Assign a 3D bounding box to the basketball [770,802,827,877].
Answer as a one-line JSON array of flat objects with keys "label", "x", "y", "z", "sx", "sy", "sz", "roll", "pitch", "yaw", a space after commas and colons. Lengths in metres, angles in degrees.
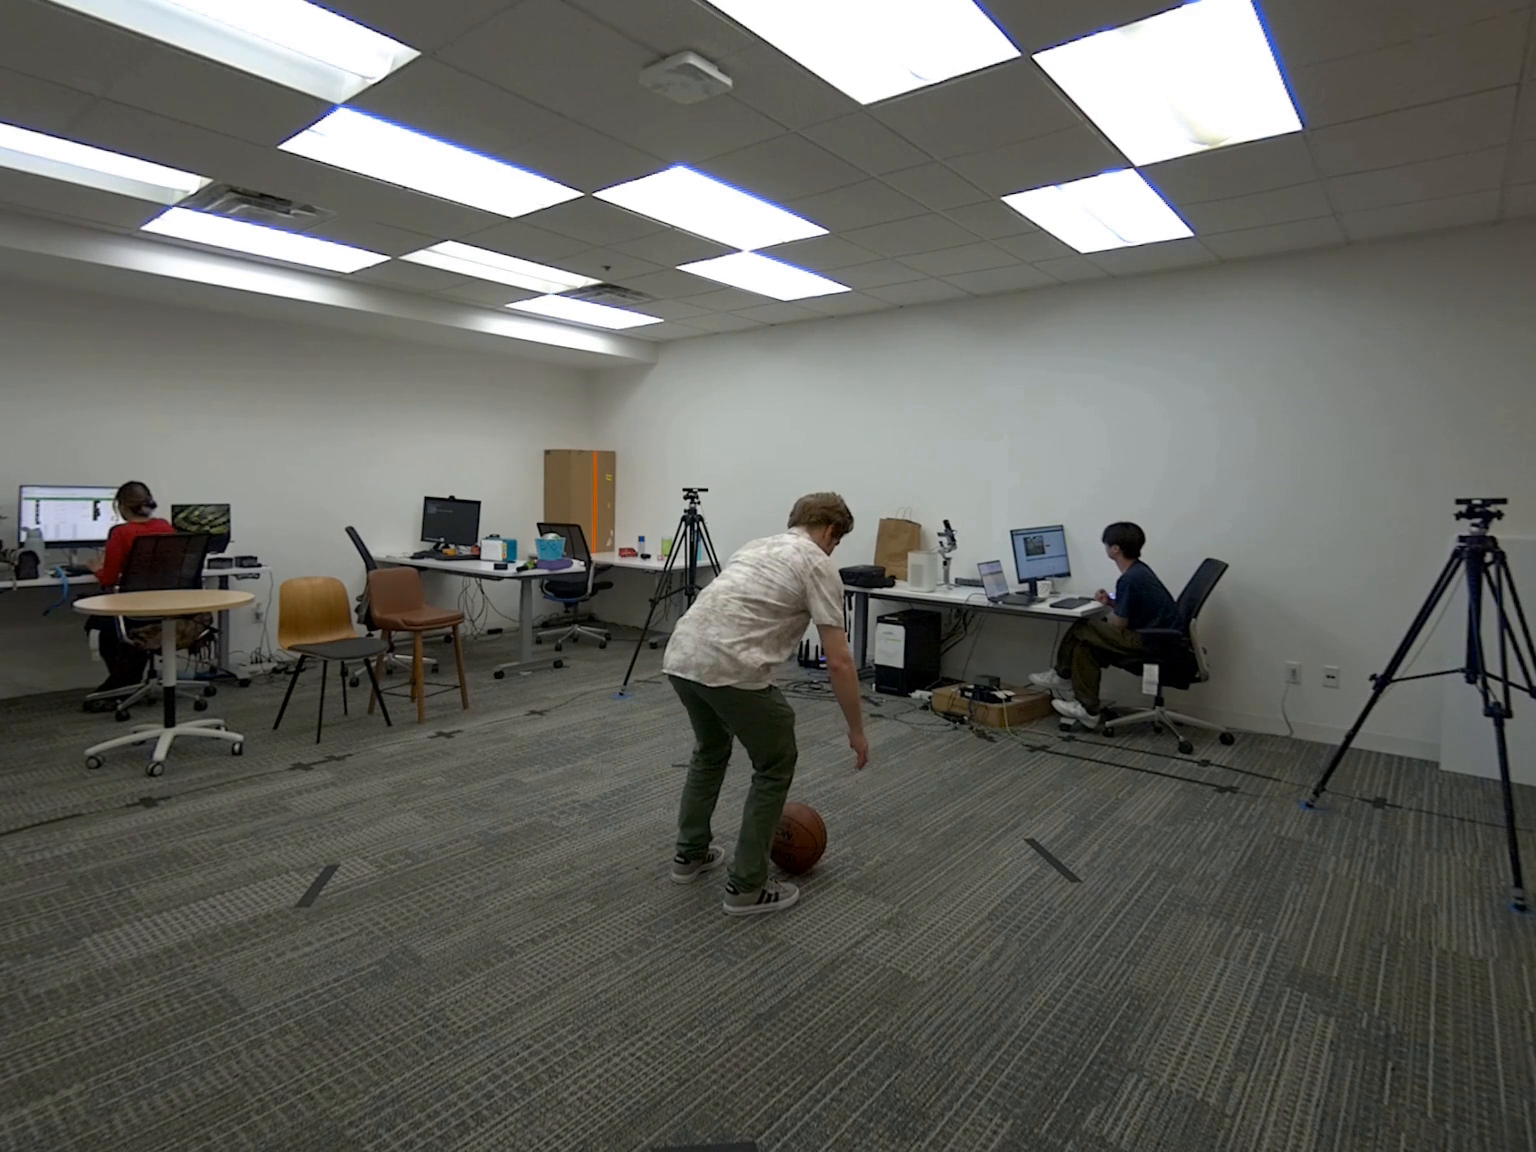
[{"label": "basketball", "x": 0.086, "y": 0.949, "z": 3.129, "sx": 0.235, "sy": 0.235, "sz": 0.237, "roll": 1, "pitch": 4, "yaw": -2}]
